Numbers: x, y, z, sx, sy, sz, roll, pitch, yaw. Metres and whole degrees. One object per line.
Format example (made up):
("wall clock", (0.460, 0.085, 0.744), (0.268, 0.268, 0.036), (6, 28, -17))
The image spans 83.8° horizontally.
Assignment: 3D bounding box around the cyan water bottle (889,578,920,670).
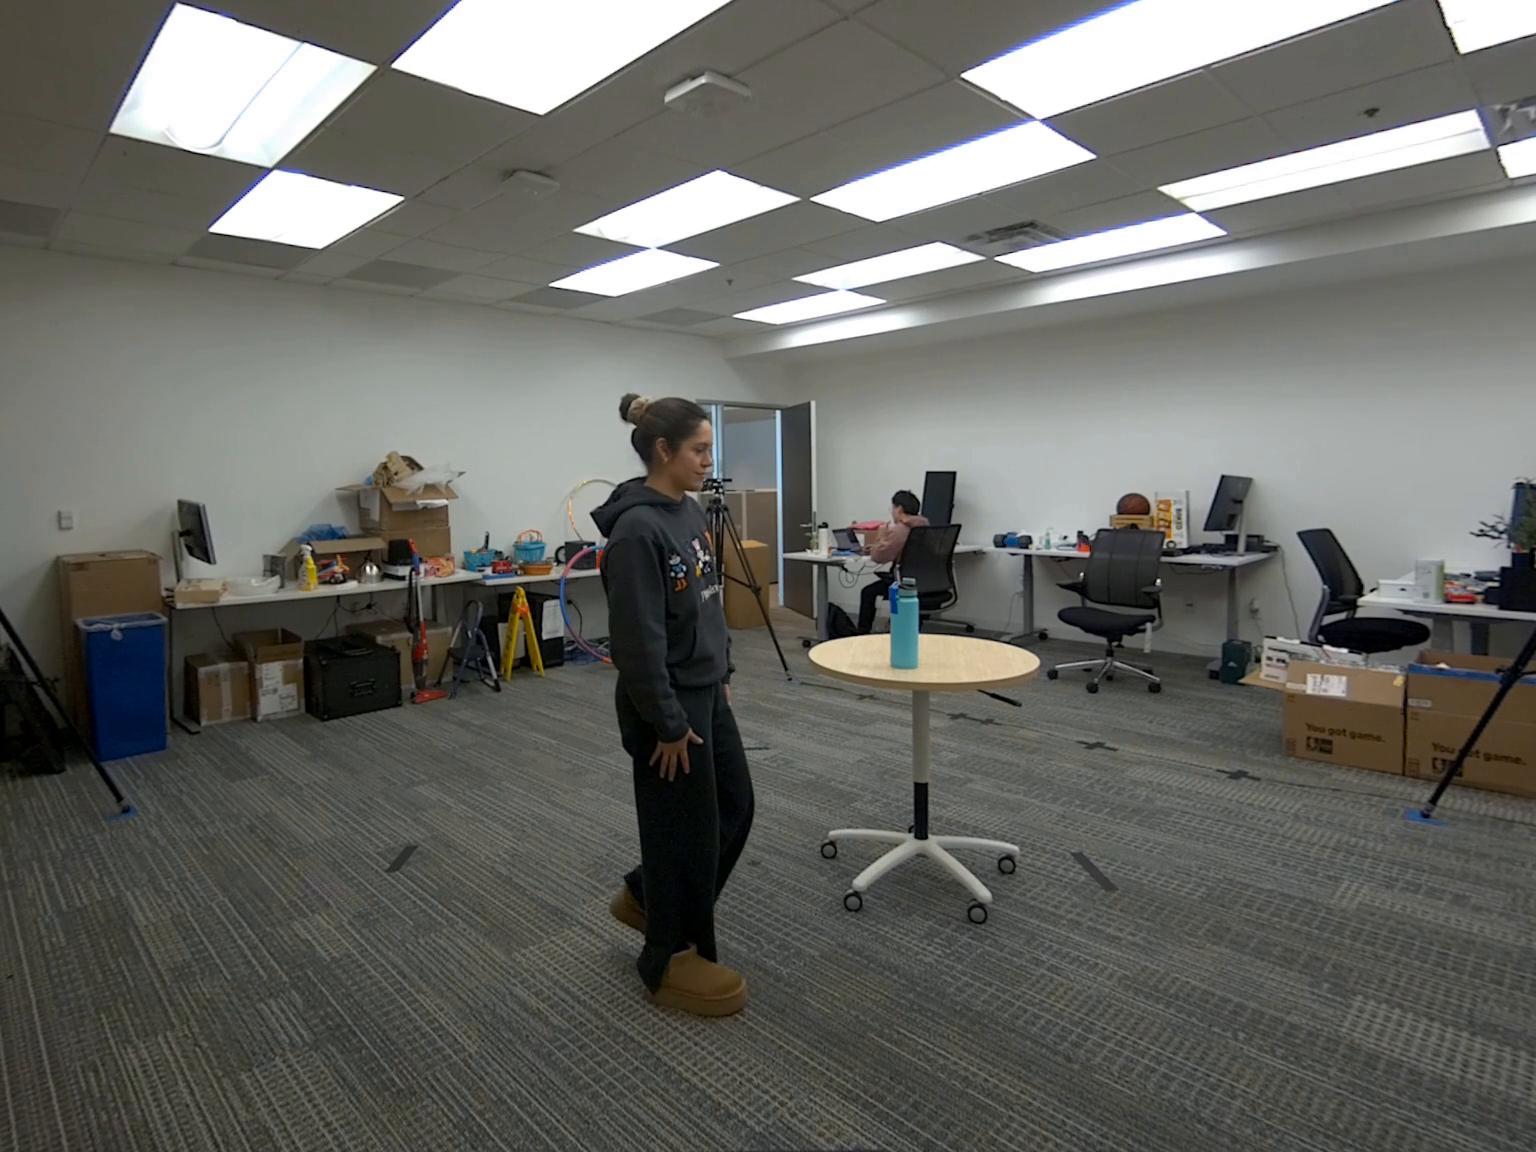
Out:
("cyan water bottle", (0.439, 0.154, 2.748), (0.092, 0.282, 0.093), (-2, 5, -1))
